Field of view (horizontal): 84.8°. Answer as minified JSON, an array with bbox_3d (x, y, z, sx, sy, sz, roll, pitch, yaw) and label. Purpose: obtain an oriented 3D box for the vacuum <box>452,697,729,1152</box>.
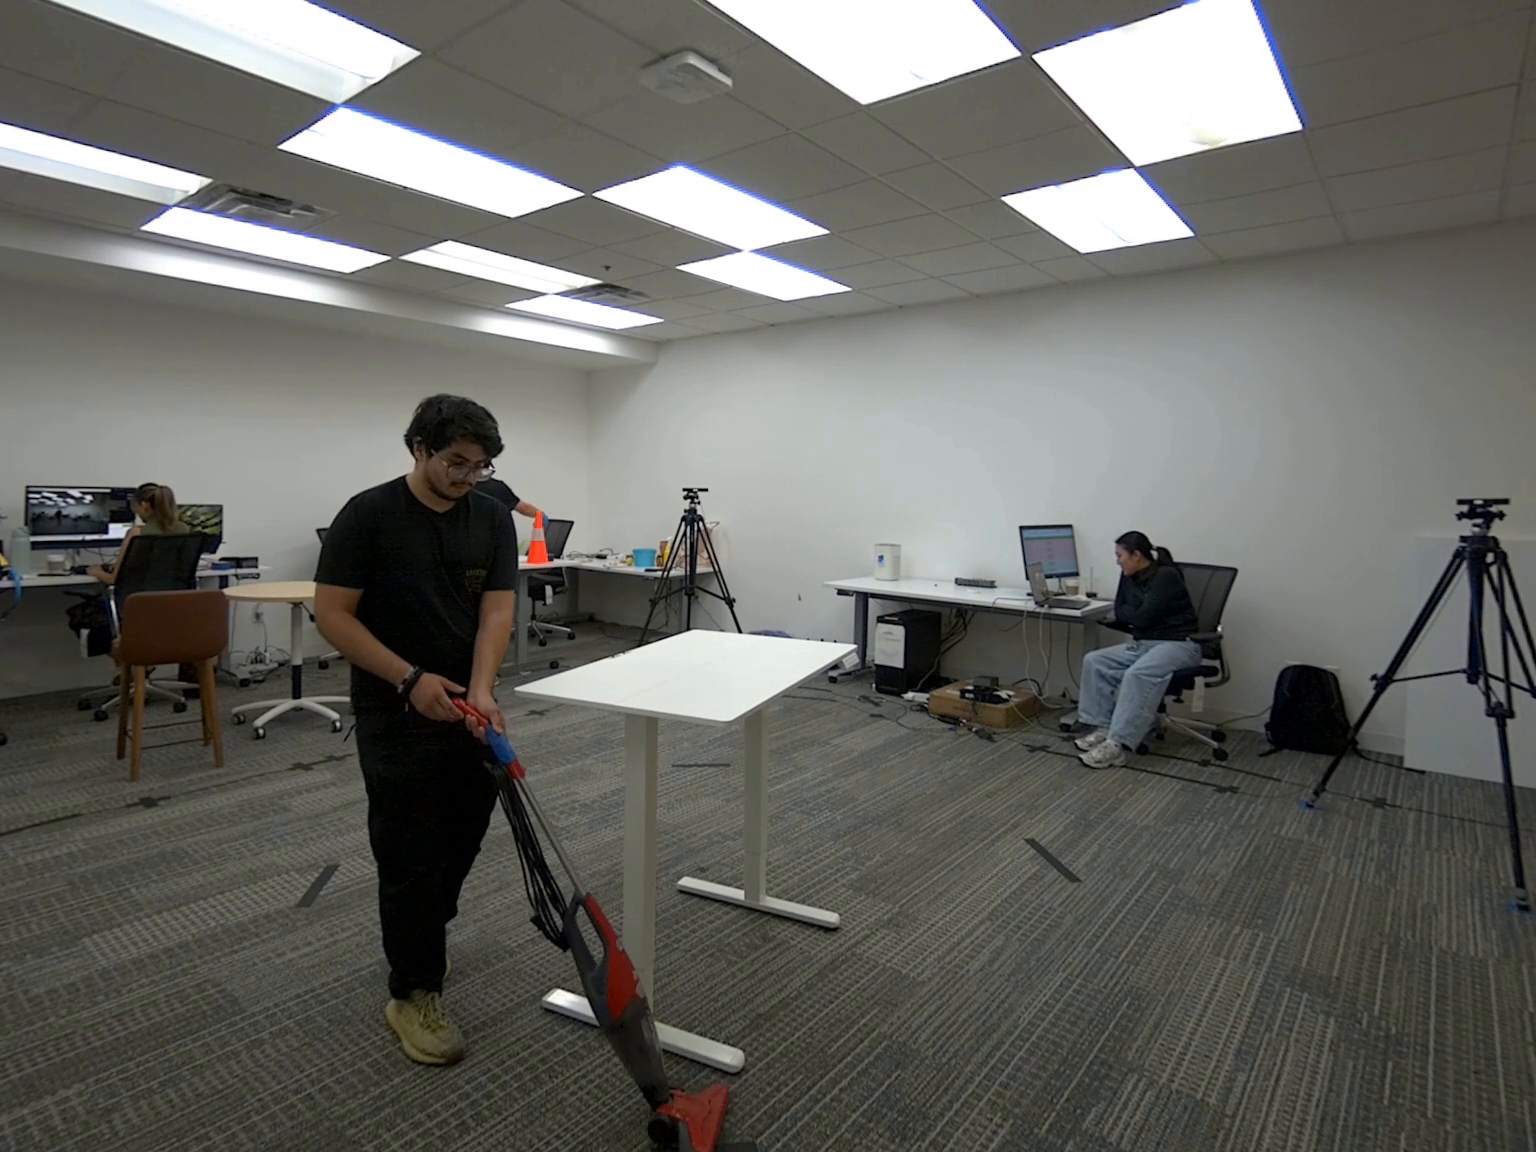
[{"bbox_3d":[-0.457,0.741,1.921,0.144,1.061,0.248,-34,-8,12],"label":"vacuum"}]
